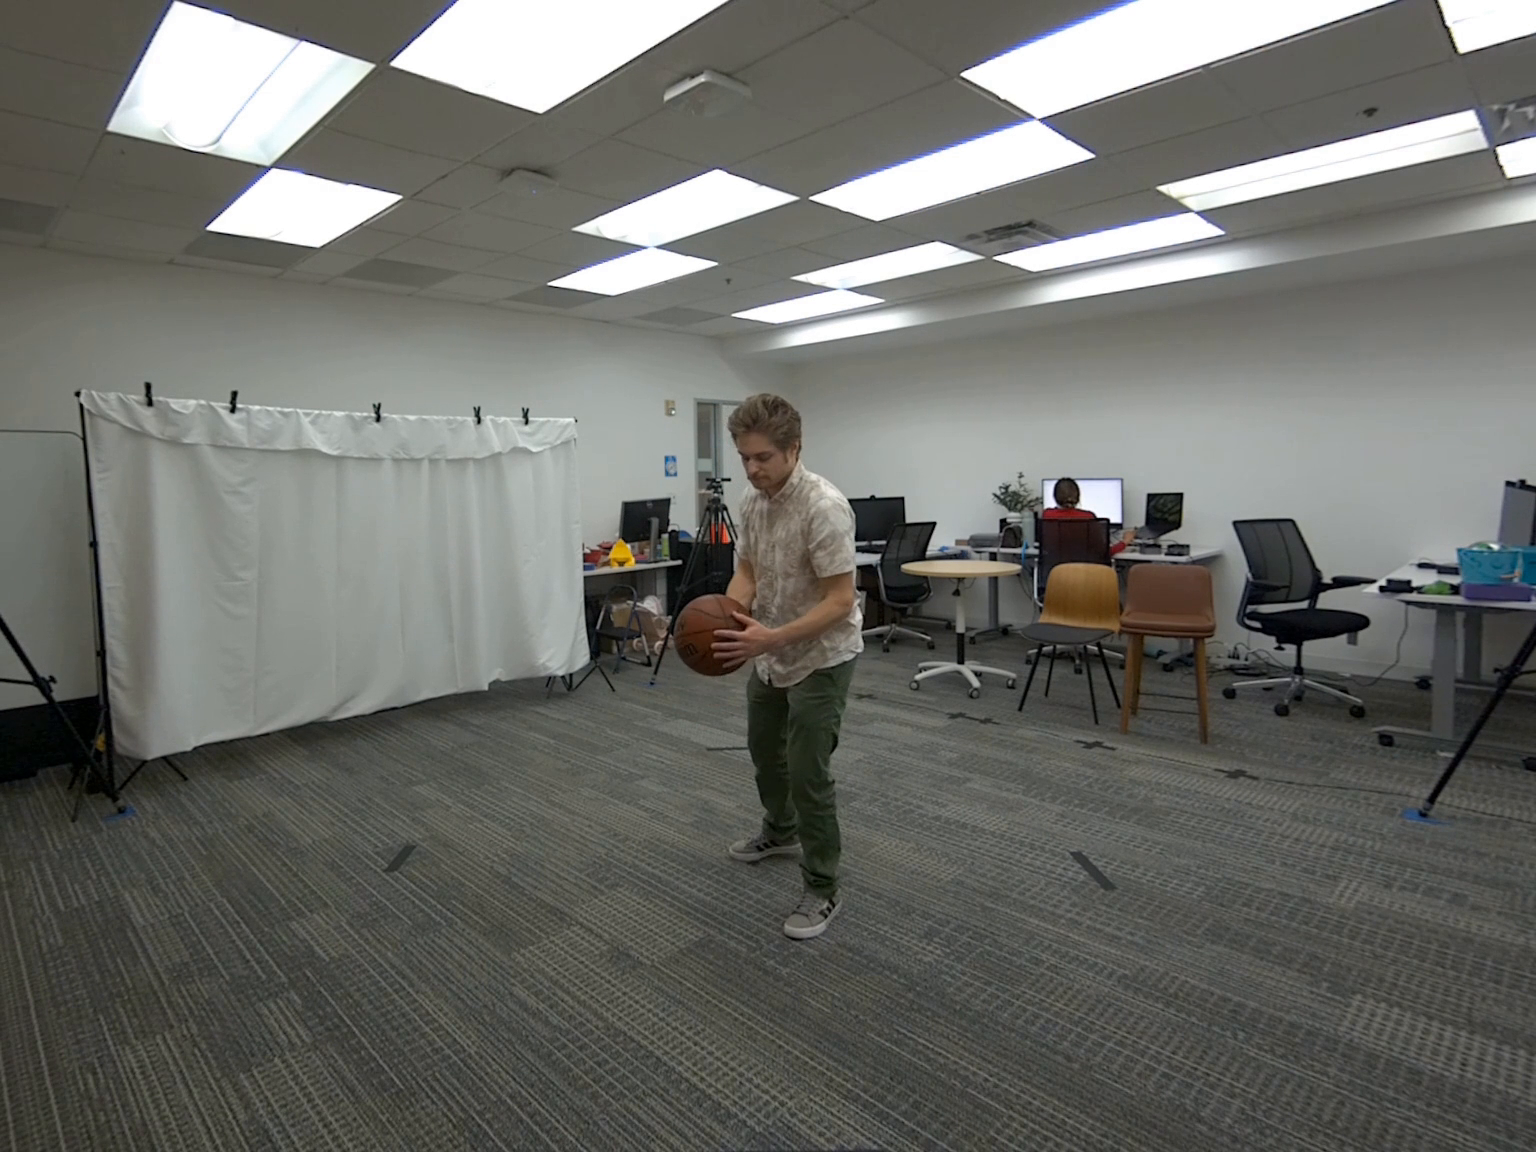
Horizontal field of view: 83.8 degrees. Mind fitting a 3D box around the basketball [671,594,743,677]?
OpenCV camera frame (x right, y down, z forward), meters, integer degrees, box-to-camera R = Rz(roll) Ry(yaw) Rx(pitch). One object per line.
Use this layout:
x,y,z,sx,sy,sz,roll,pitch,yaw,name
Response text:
-0.152,0.177,2.500,0.236,0.235,0.237,-1,5,-2,basketball
